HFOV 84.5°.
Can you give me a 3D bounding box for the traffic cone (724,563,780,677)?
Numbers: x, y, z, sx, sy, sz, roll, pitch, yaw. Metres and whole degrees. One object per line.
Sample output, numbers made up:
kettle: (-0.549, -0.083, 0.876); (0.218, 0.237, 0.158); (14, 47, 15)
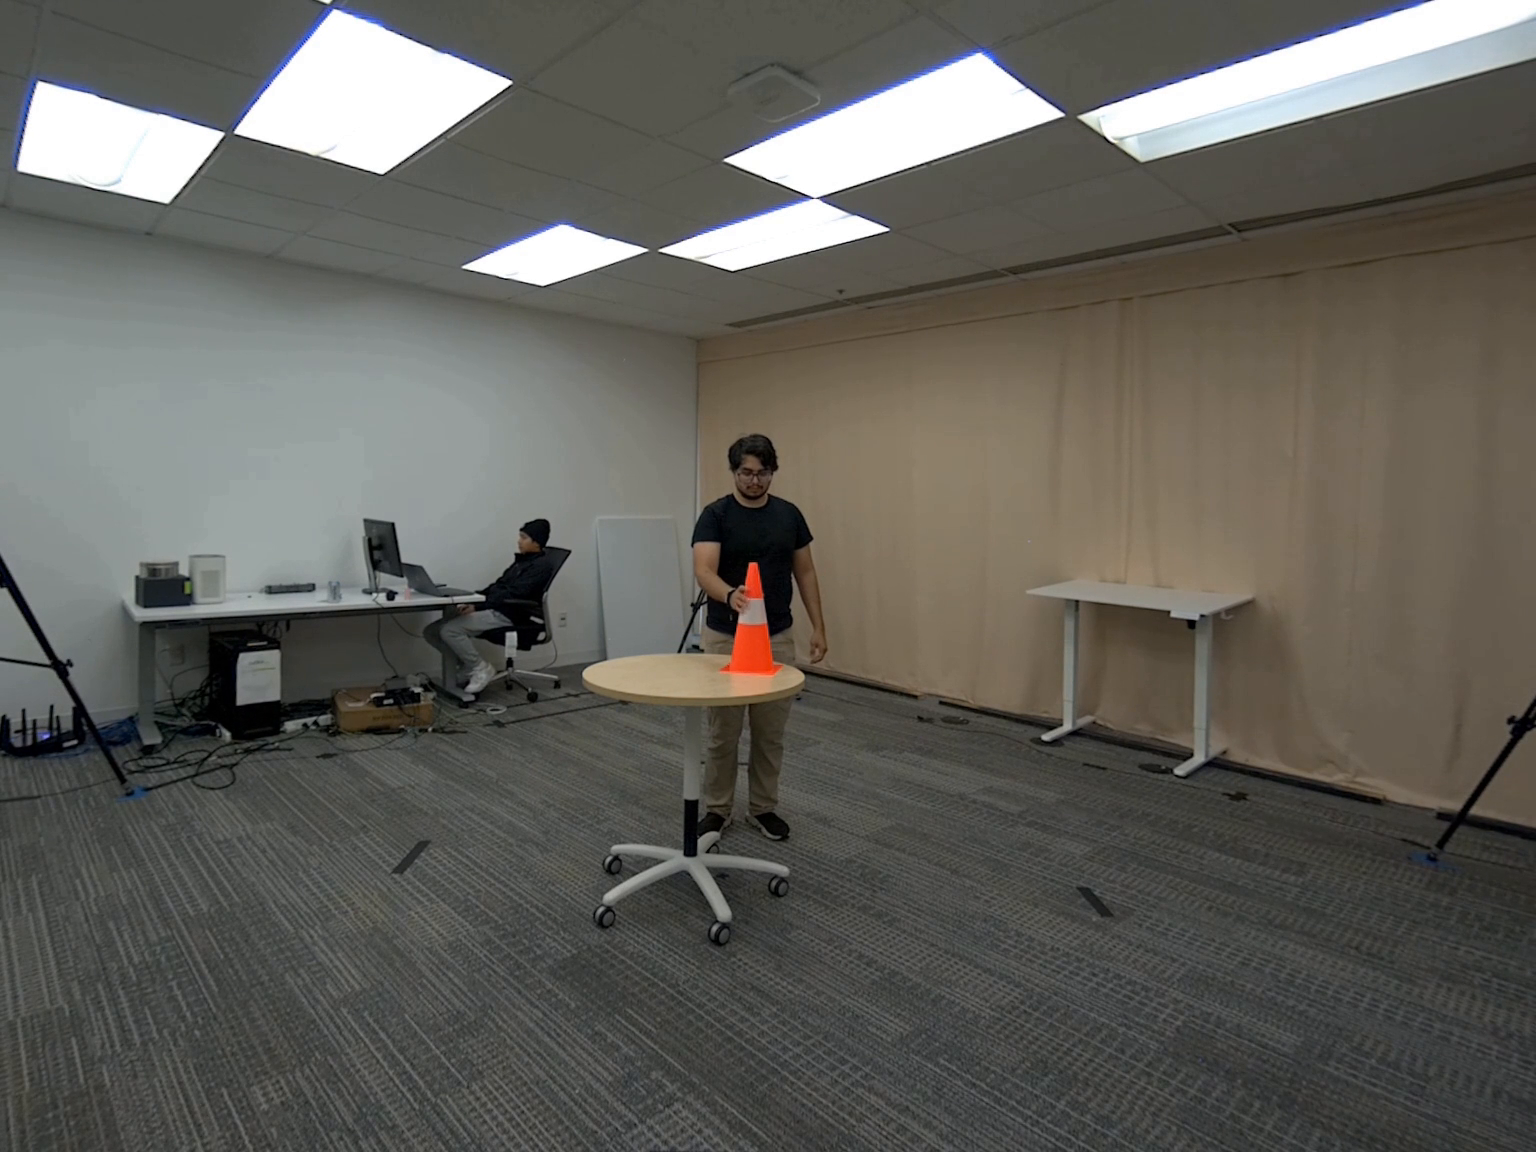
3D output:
traffic cone: (-0.062, 0.146, 3.014); (0.205, 0.383, 0.204); (4, 4, 10)
